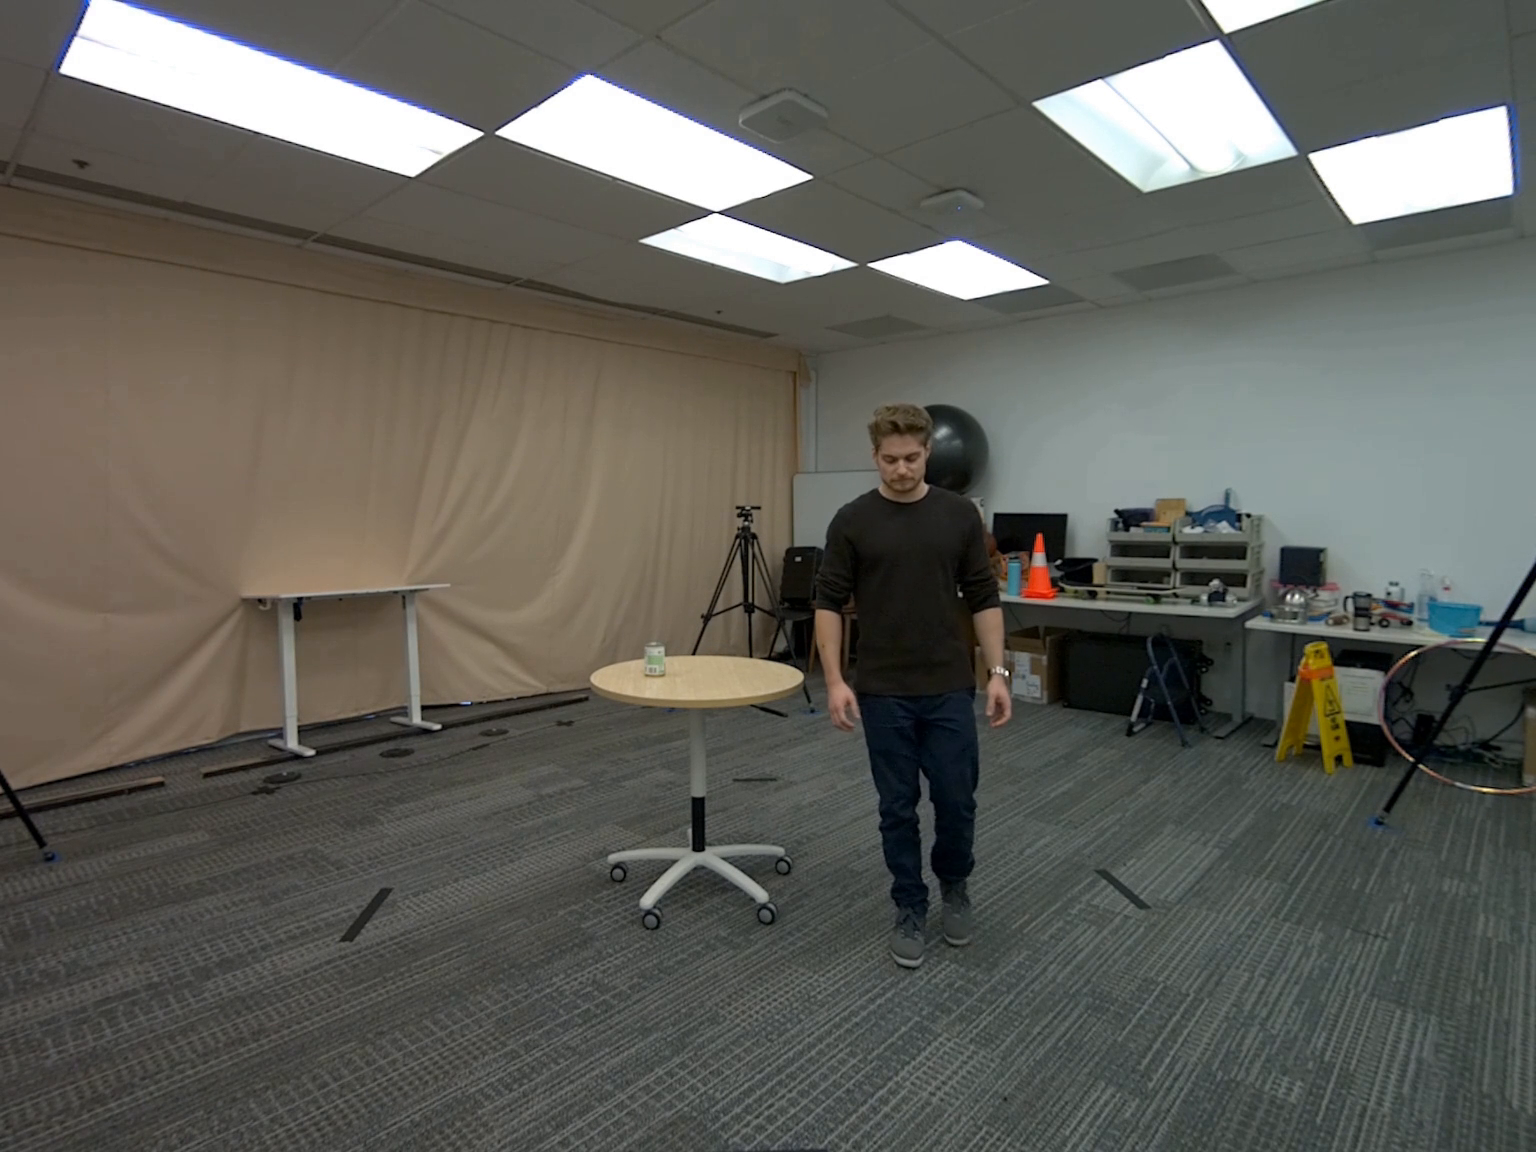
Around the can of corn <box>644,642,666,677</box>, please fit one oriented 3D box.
[{"bbox_3d":[-0.406,0.302,3.027,0.074,0.111,0.074,1,3,-2],"label":"can of corn"}]
